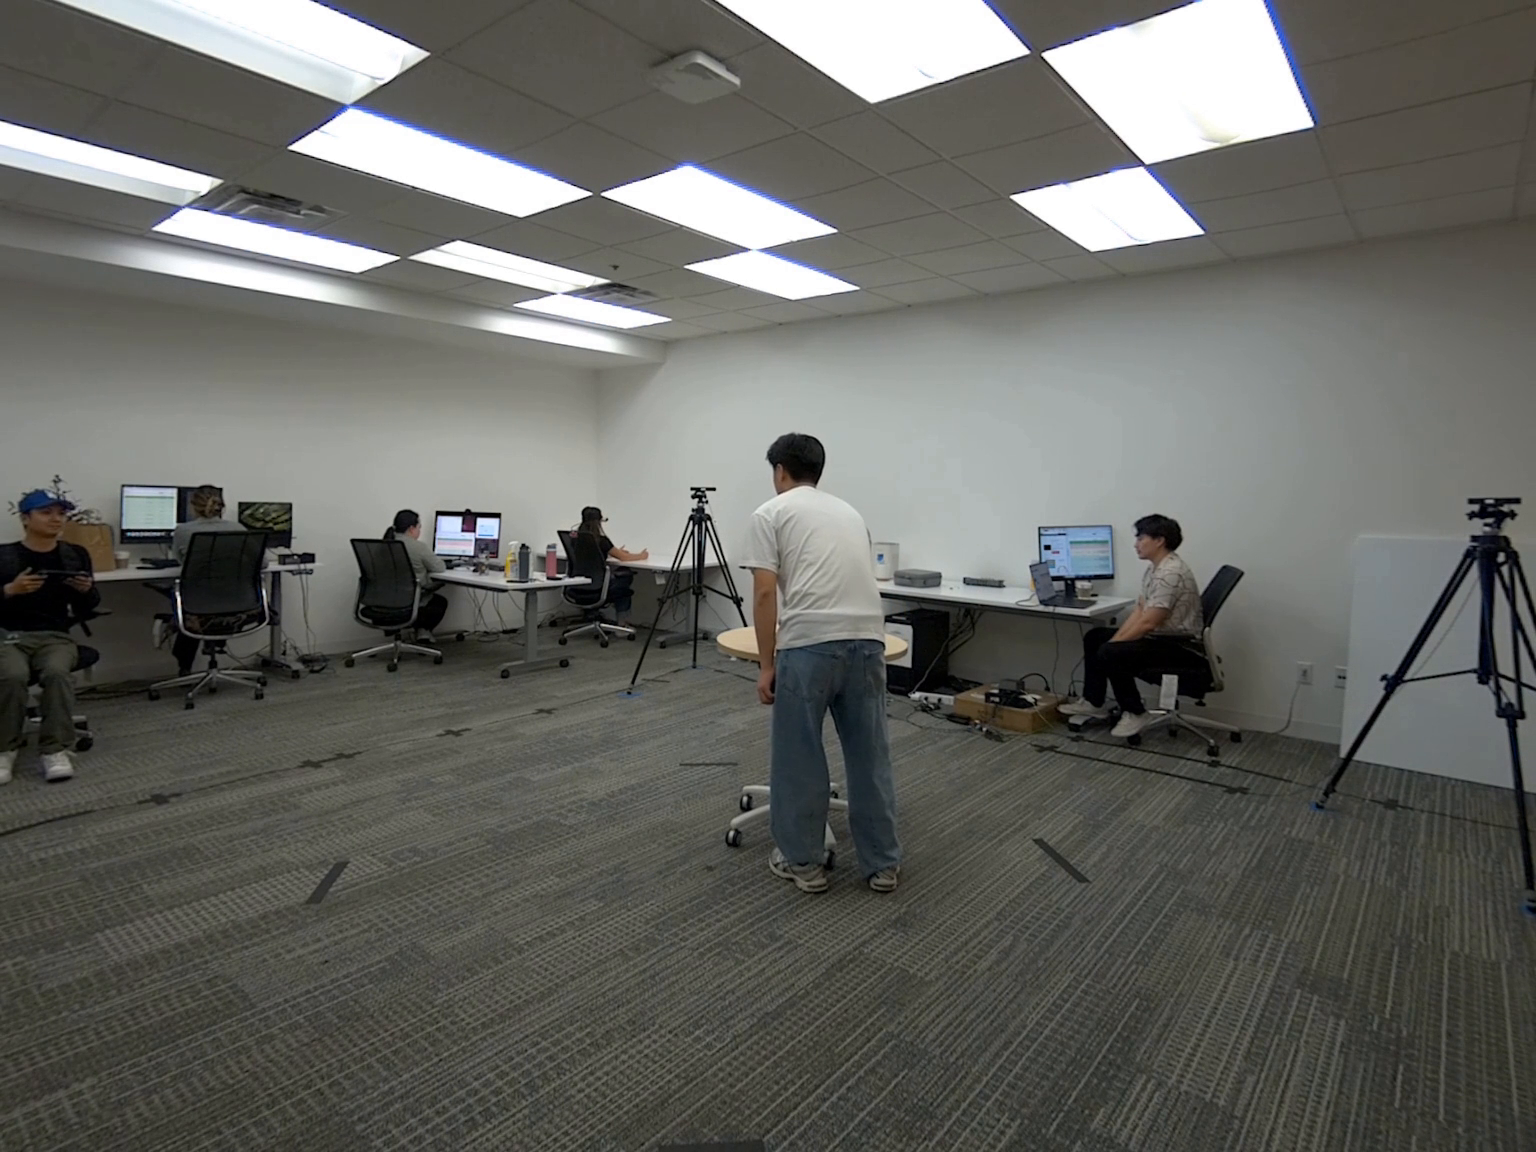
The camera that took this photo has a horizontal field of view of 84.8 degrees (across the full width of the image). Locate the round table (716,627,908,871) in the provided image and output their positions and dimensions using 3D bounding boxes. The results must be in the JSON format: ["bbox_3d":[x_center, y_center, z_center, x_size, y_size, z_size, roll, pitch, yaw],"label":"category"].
[{"bbox_3d":[0.148,0.645,3.466,0.763,0.791,0.768,1,4,-2],"label":"round table"}]
